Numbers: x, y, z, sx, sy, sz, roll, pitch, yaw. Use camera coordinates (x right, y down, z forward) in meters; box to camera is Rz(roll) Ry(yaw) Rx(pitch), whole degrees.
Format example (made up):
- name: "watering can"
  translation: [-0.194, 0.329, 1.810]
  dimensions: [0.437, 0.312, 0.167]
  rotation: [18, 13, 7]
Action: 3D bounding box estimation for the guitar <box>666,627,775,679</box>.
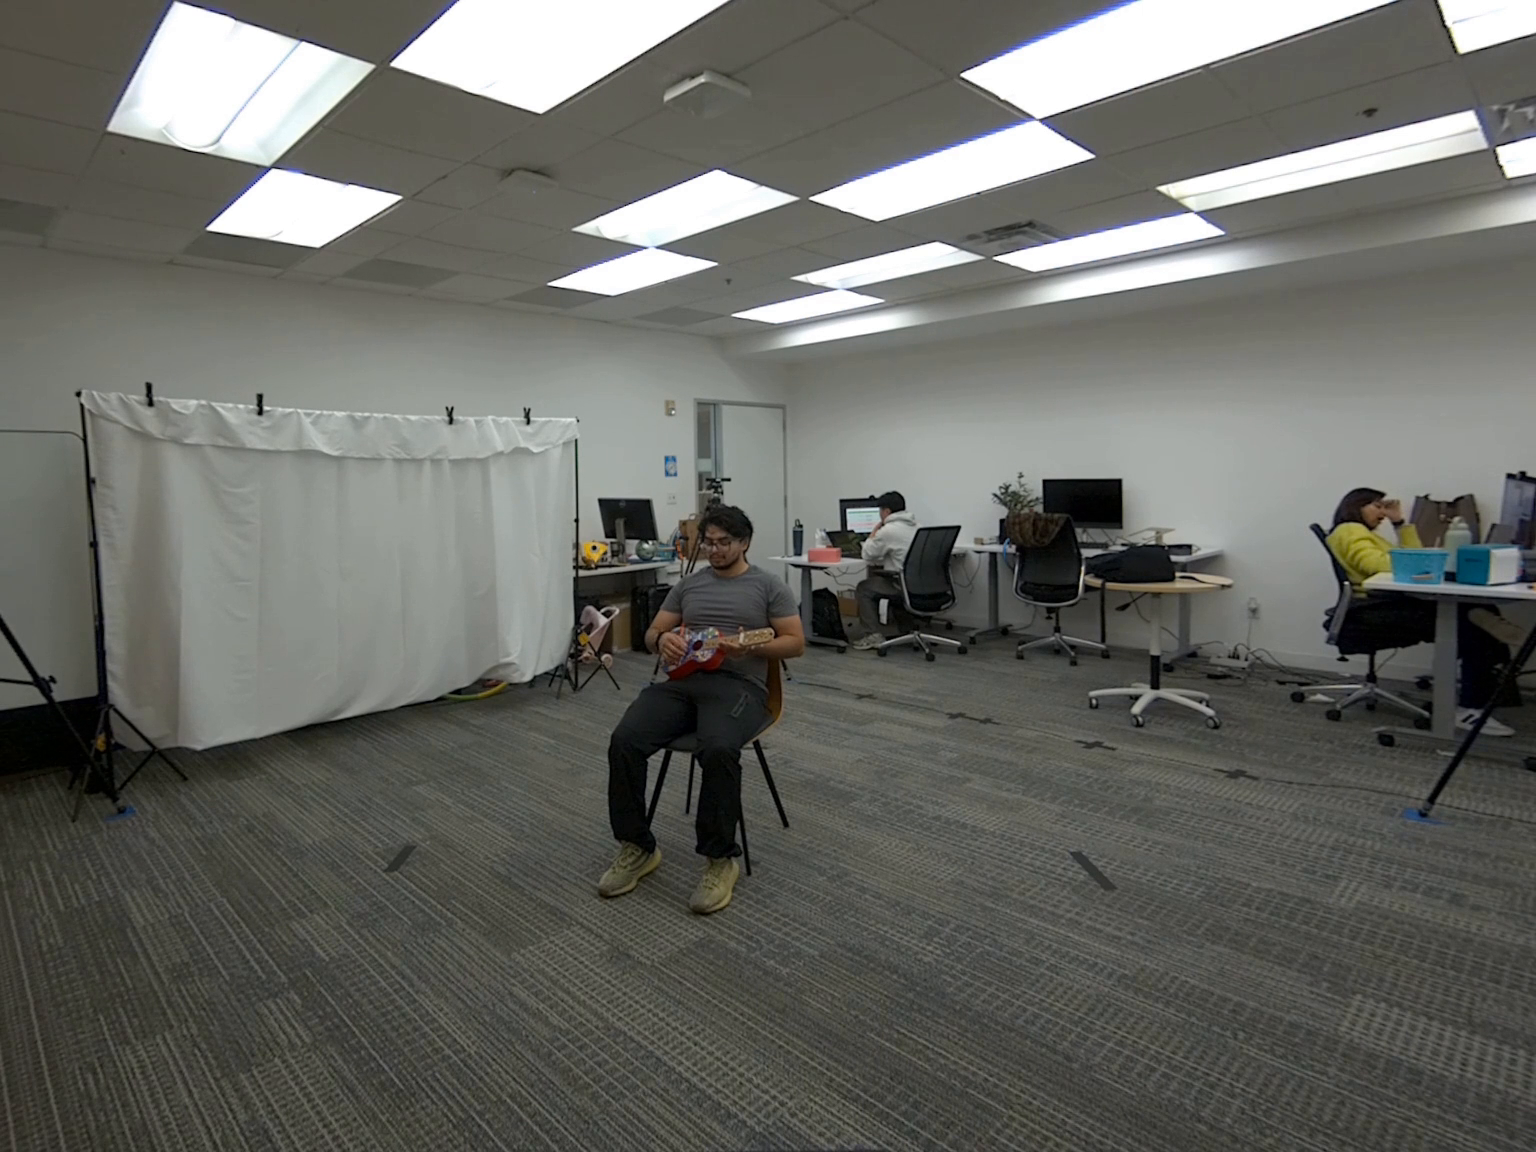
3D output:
- name: "guitar"
  translation: [-0.204, 0.281, 3.124]
  dimensions: [0.511, 0.195, 0.068]
  rotation: [-3, -37, 37]
